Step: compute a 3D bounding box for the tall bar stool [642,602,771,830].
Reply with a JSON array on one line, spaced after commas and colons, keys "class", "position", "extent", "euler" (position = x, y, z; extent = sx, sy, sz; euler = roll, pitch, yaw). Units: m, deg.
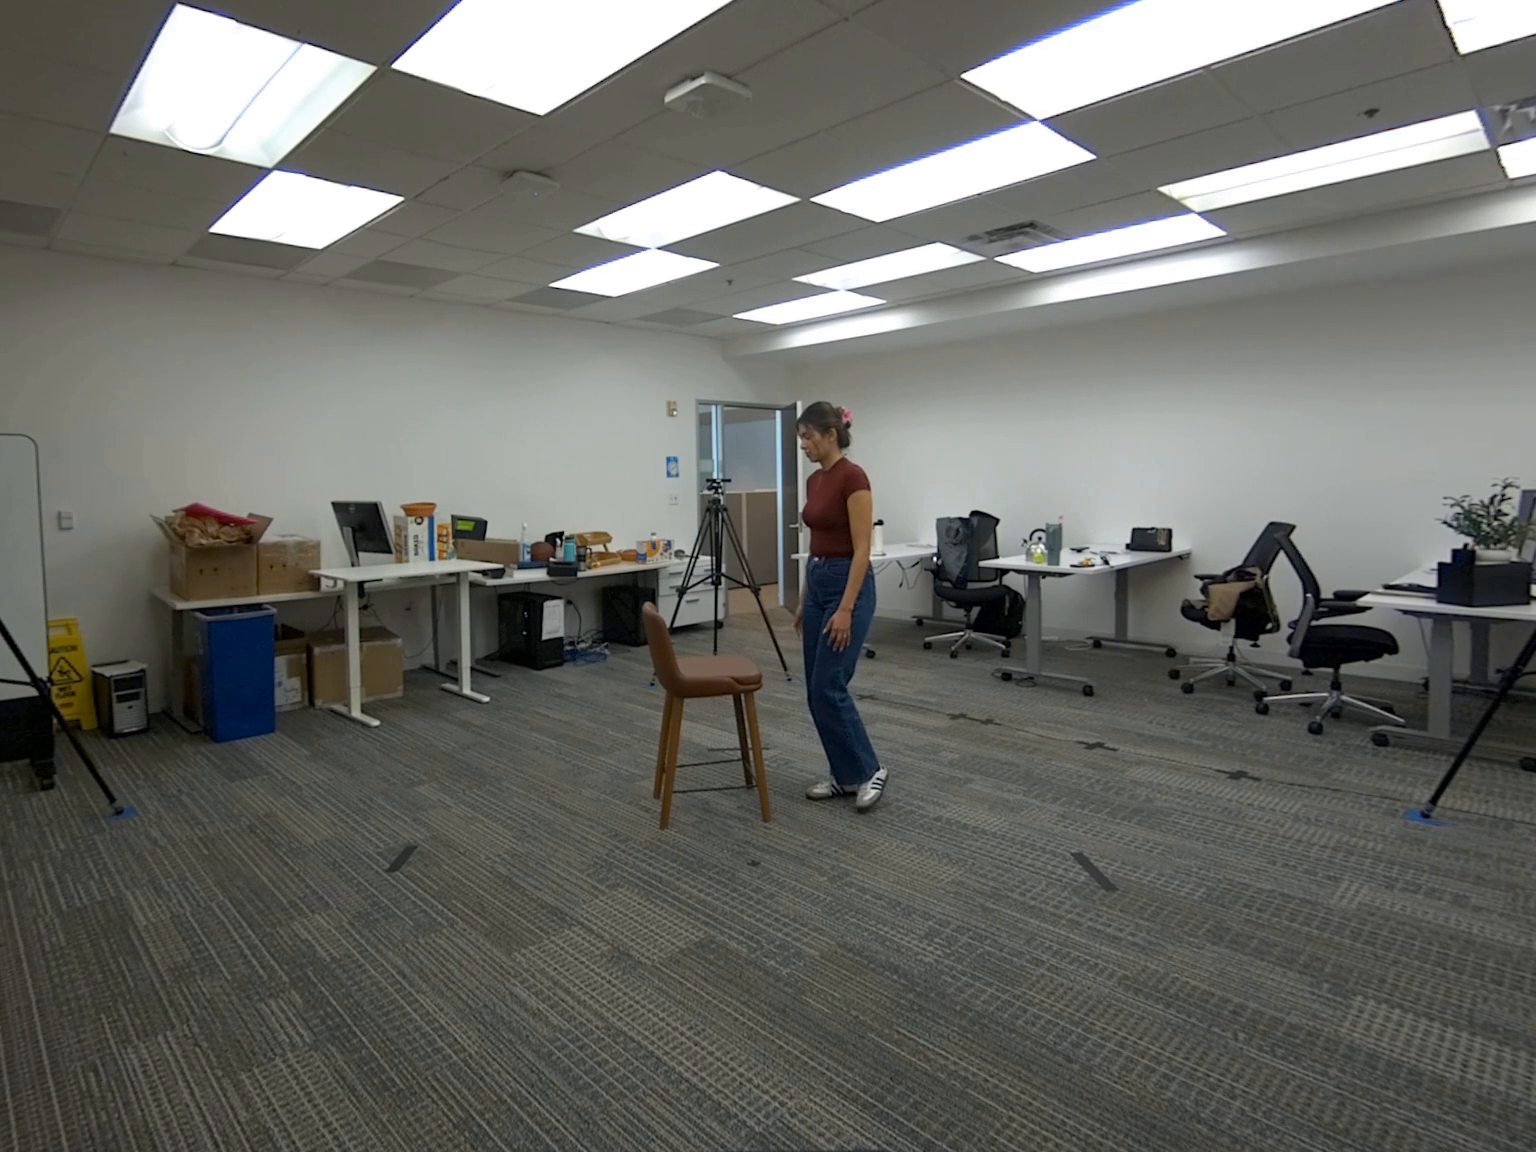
[{"class": "tall bar stool", "position": [-0.260, 0.557, 3.618], "extent": [0.463, 0.887, 0.463], "euler": [-3, 4, -11]}]
